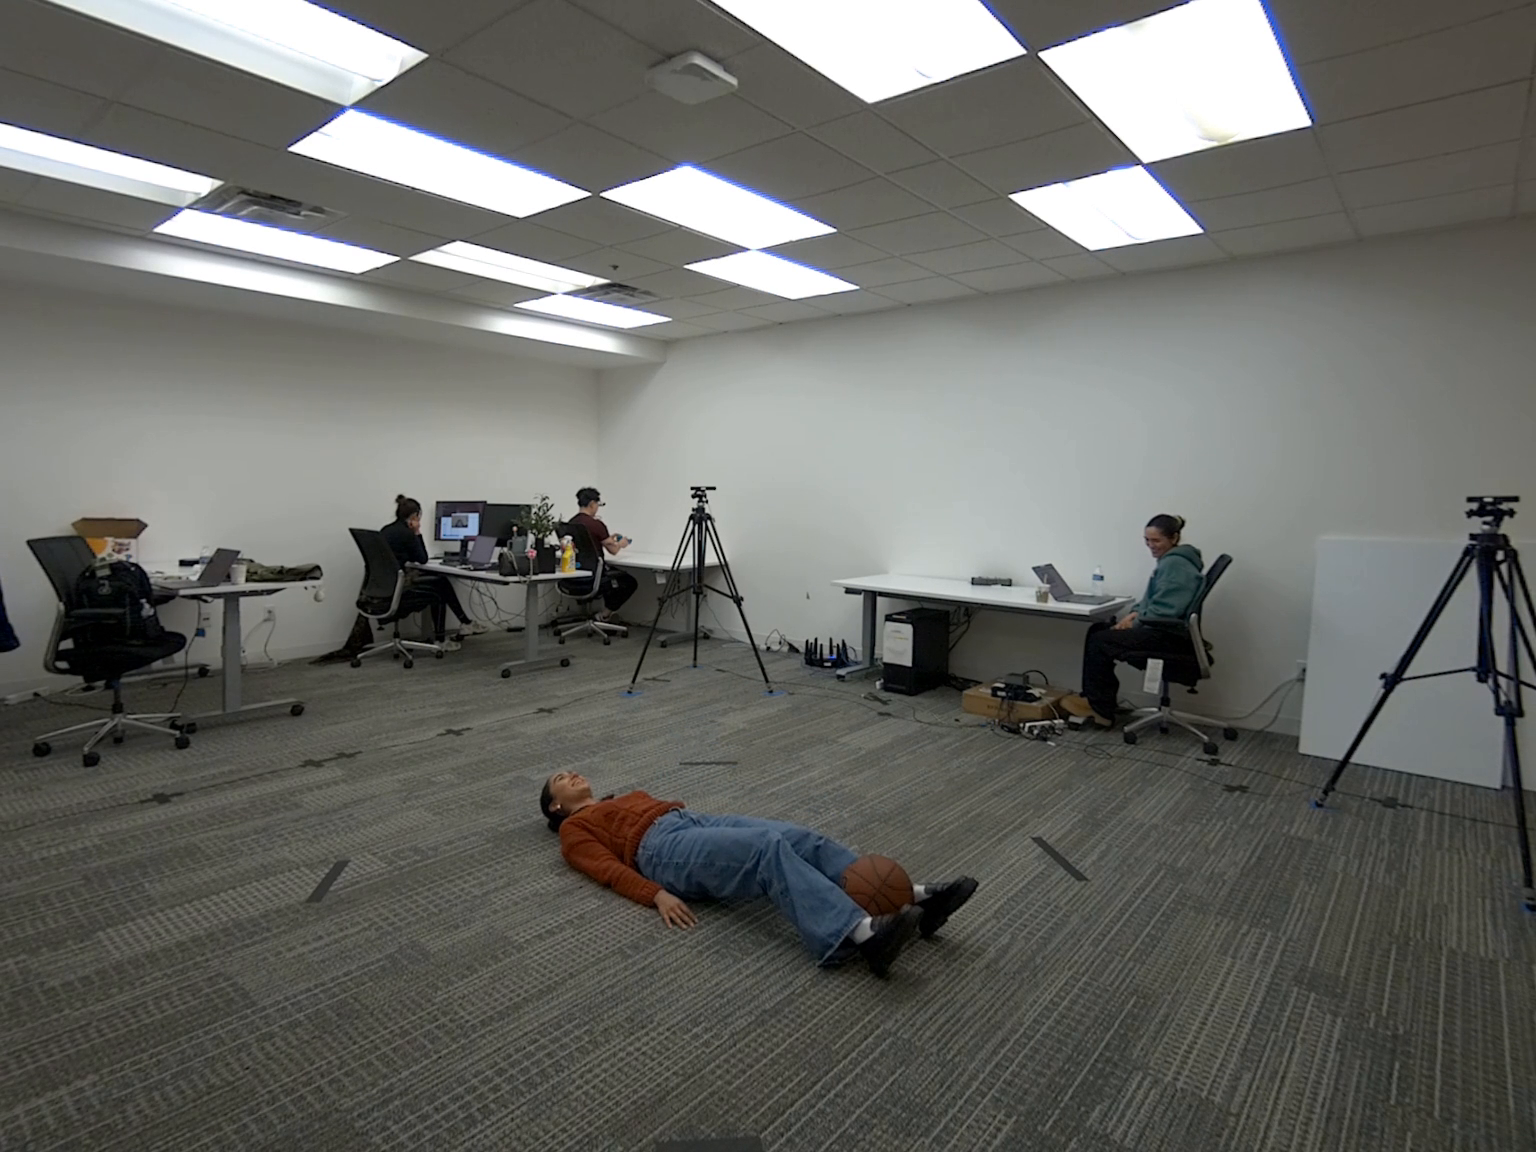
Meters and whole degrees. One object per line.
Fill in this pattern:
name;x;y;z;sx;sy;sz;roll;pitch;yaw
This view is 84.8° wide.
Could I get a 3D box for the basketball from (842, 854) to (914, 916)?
basketball;0.315;0.981;2.601;0.236;0.235;0.237;1;4;-2
